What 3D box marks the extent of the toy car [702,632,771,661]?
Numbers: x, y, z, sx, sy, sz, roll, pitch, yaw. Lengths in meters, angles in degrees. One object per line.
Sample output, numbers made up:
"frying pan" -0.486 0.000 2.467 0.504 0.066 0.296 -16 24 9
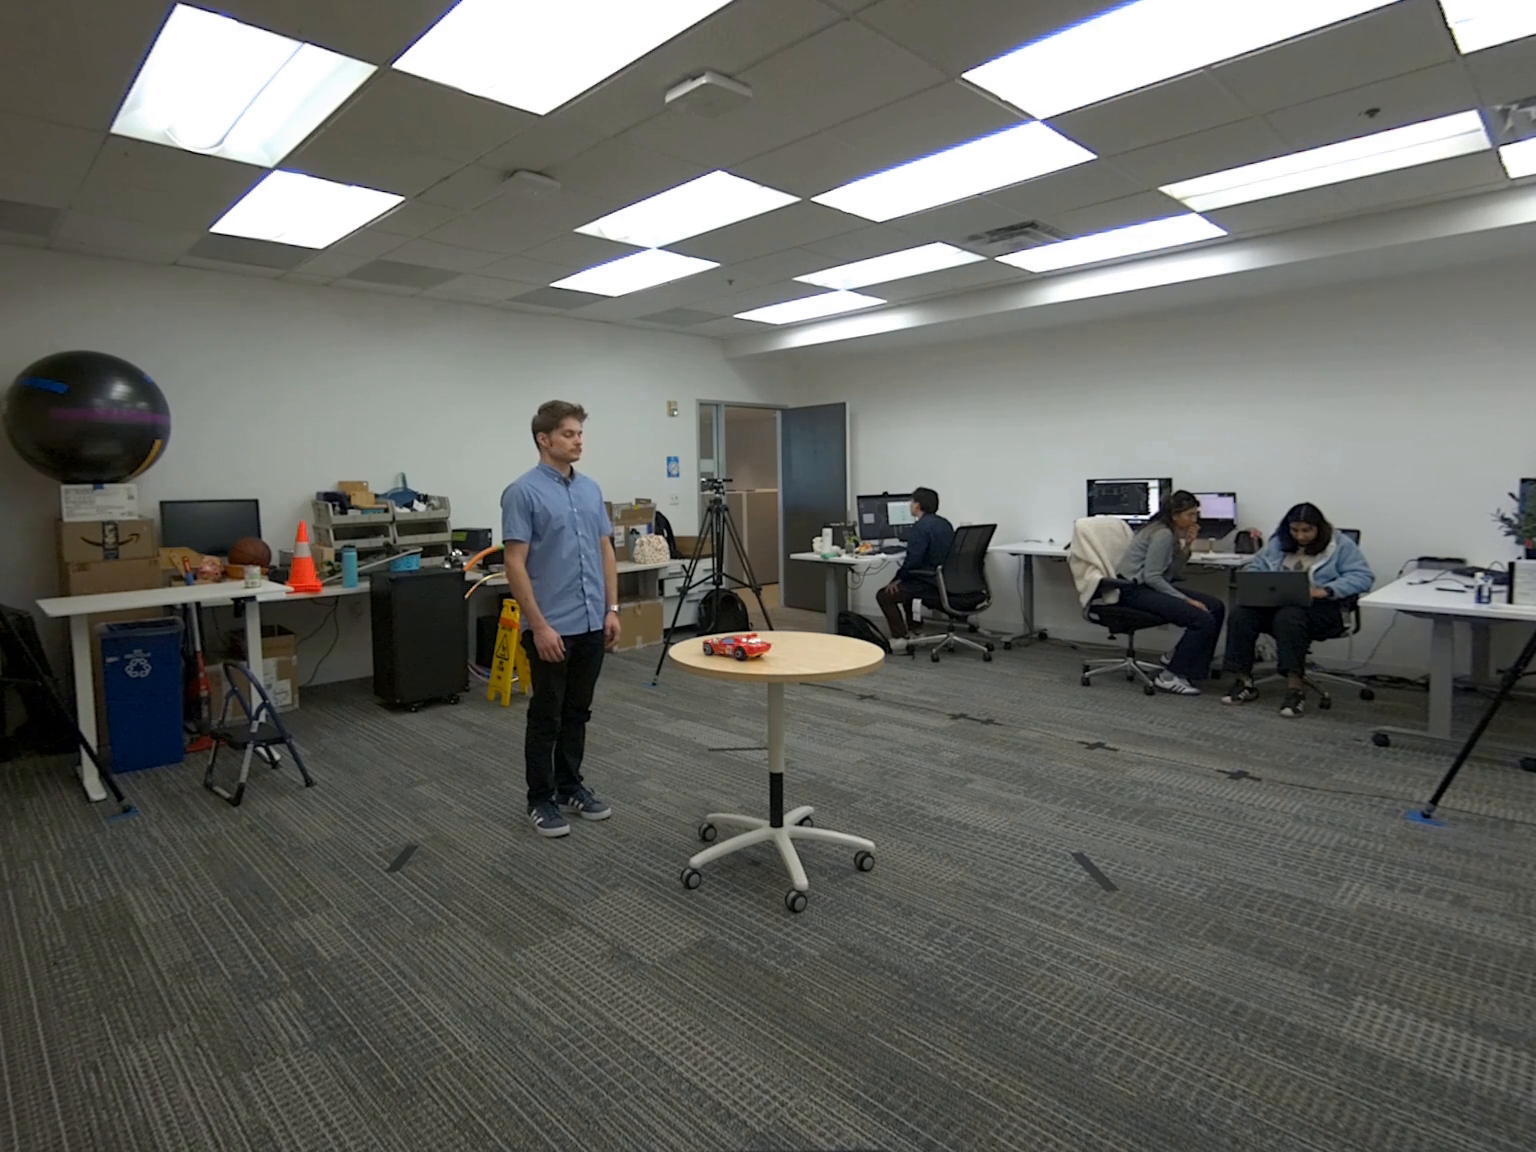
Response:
"toy car" -0.100 0.246 2.944 0.260 0.083 0.127 -9 -1 39
